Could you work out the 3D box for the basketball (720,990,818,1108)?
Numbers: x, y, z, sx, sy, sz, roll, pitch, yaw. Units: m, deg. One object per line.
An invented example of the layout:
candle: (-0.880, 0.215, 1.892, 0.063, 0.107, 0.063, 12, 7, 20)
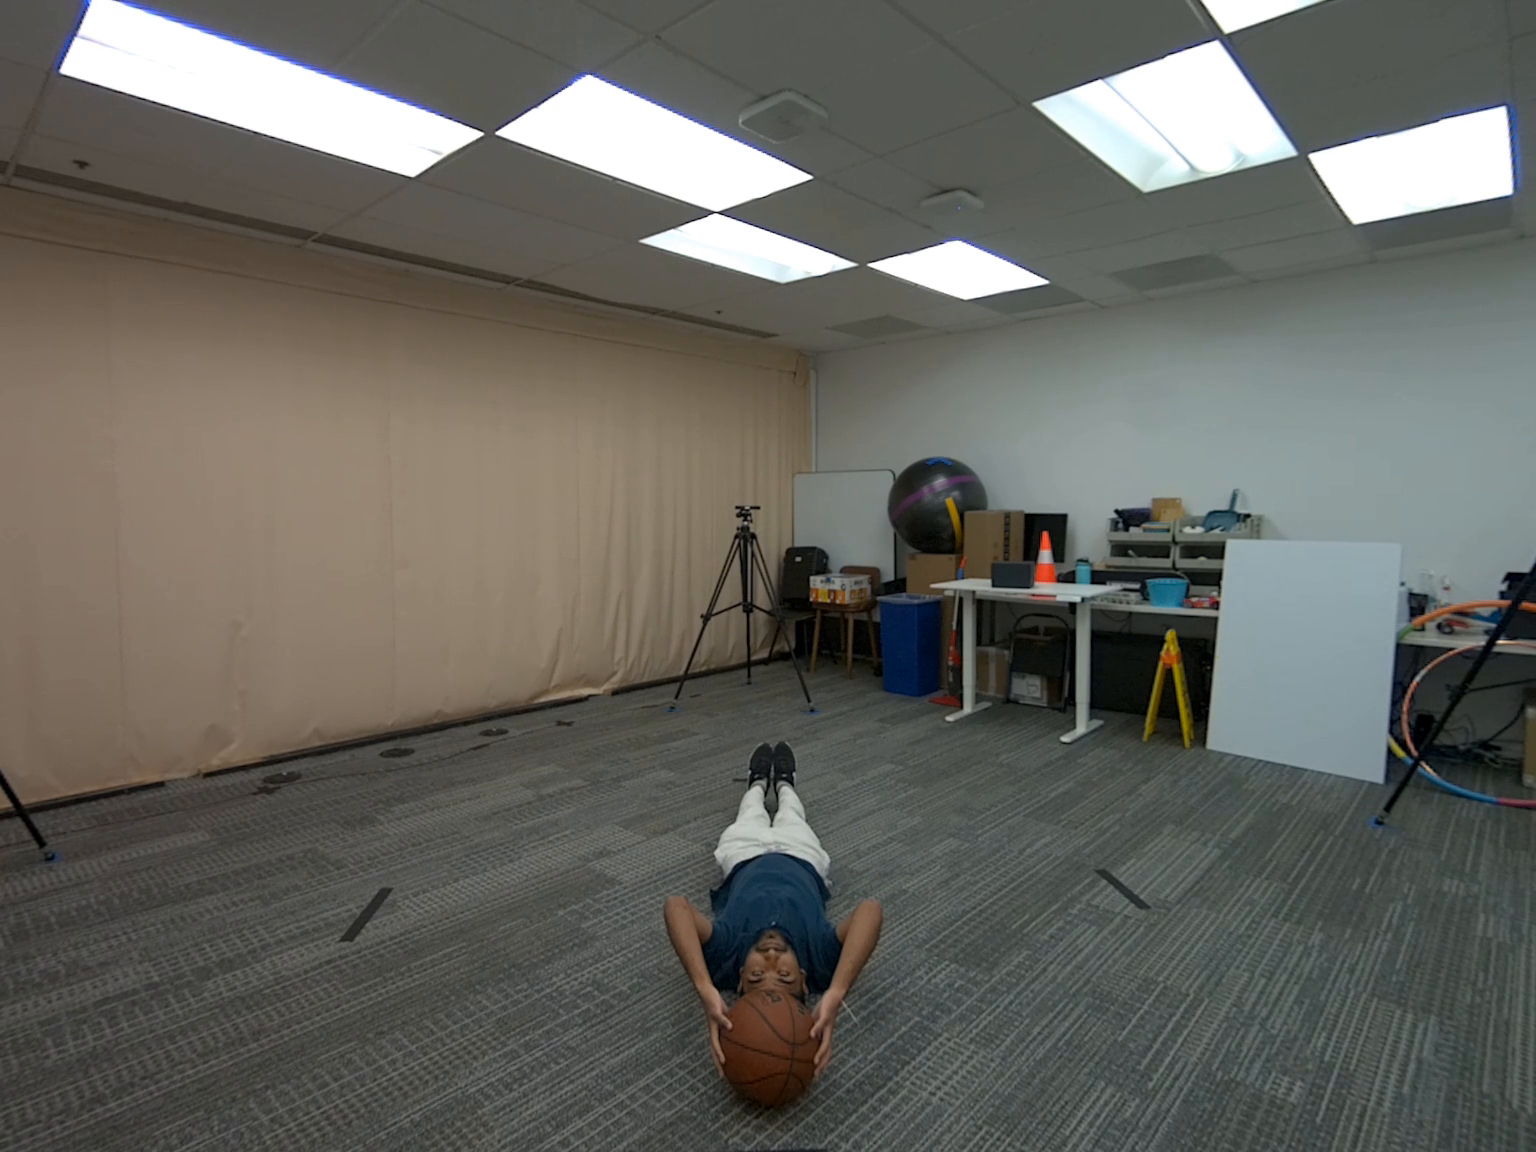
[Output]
basketball: (0.008, 1.112, 1.975, 0.236, 0.235, 0.237, 0, 4, -2)
